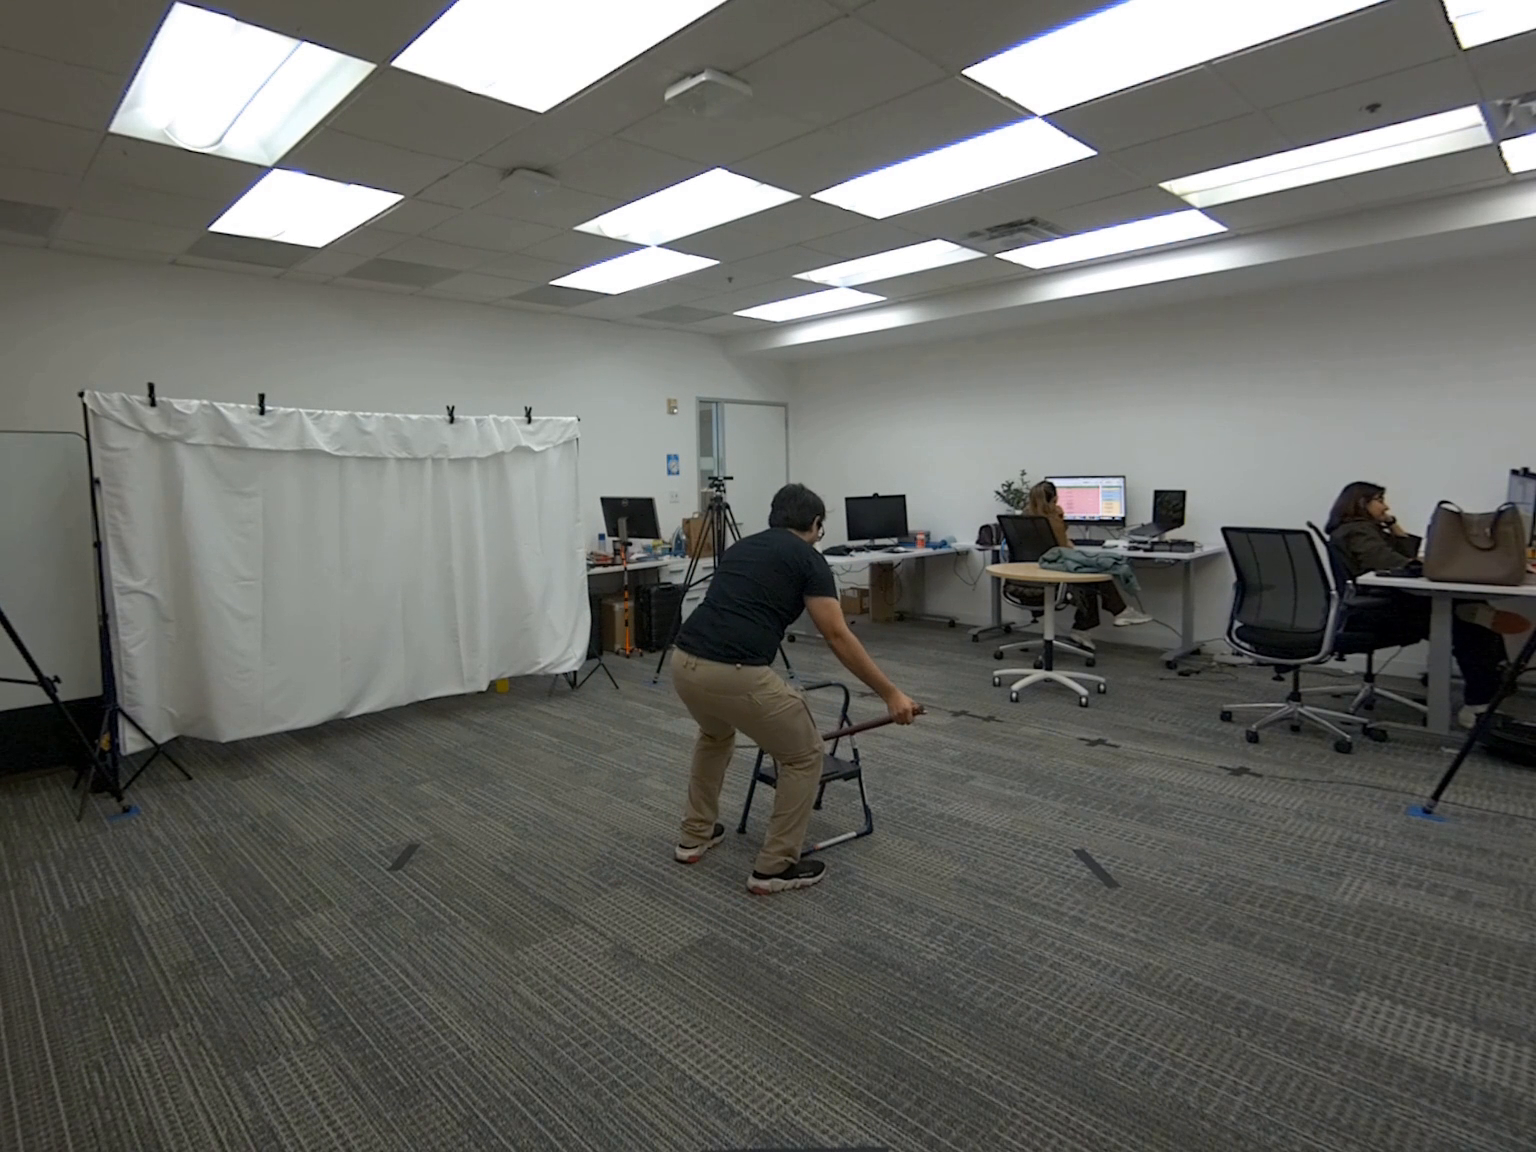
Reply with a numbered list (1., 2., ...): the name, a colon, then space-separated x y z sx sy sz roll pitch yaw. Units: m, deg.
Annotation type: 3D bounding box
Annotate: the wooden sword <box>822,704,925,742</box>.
1. wooden sword: 0.229 0.598 3.197 0.051 0.024 1.035 -37 5 -35
